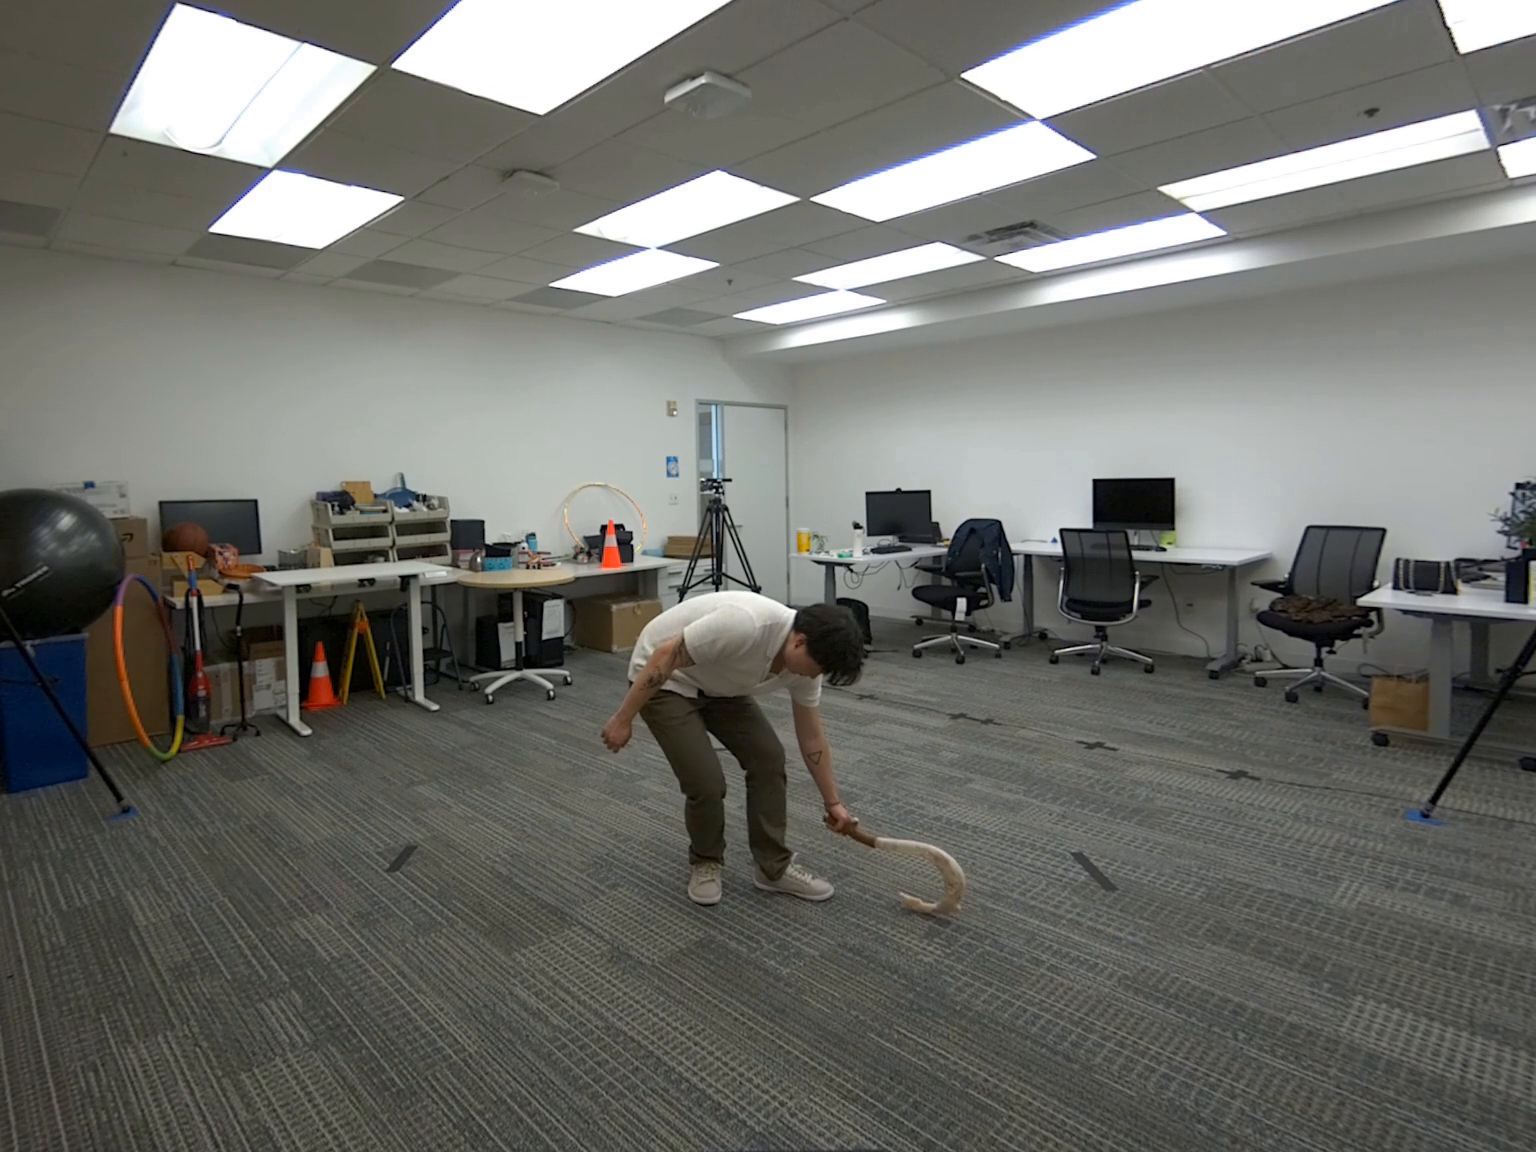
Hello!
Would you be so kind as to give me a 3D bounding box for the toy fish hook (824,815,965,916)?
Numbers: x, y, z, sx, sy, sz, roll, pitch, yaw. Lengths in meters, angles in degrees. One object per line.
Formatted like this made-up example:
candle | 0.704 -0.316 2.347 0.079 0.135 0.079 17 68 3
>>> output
toy fish hook | 0.392 0.935 2.792 0.523 0.224 0.047 15 3 34
